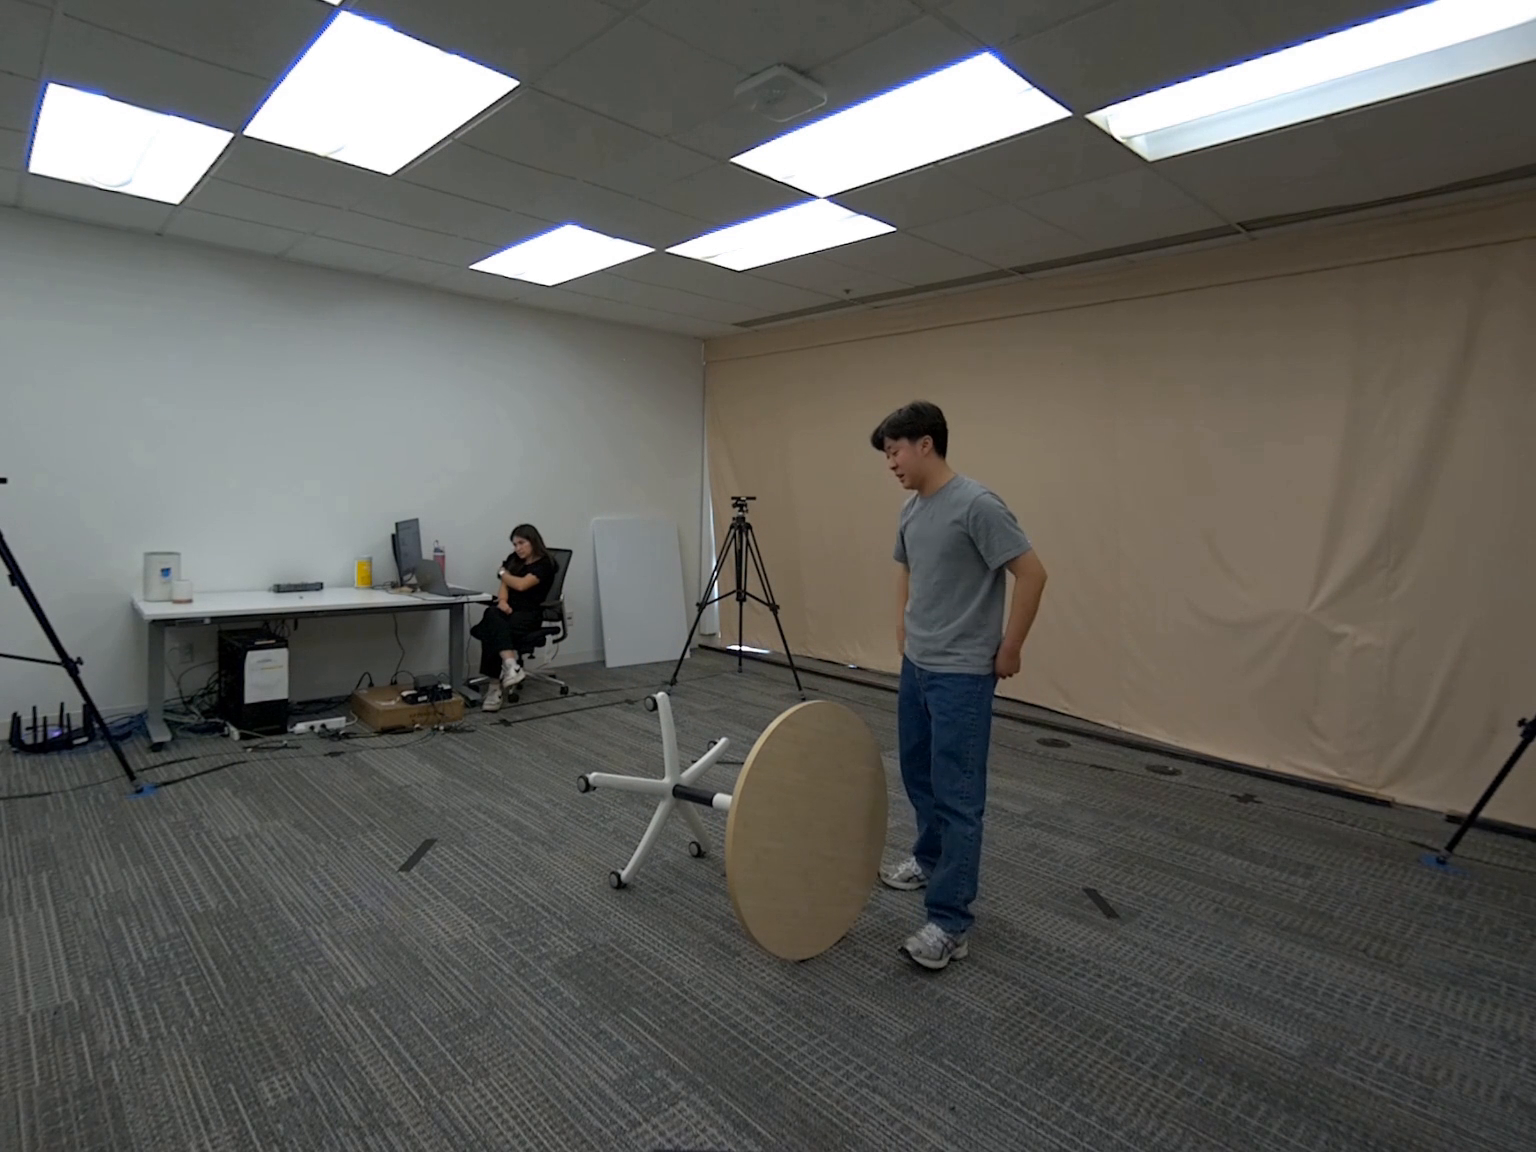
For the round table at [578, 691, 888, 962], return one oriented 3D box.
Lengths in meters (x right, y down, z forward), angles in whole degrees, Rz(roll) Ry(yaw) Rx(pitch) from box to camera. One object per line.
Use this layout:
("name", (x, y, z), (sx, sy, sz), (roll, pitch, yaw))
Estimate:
("round table", (-0.148, 0.784, 2.871), (0.812, 0.764, 0.747), (-3, 0, 43))
